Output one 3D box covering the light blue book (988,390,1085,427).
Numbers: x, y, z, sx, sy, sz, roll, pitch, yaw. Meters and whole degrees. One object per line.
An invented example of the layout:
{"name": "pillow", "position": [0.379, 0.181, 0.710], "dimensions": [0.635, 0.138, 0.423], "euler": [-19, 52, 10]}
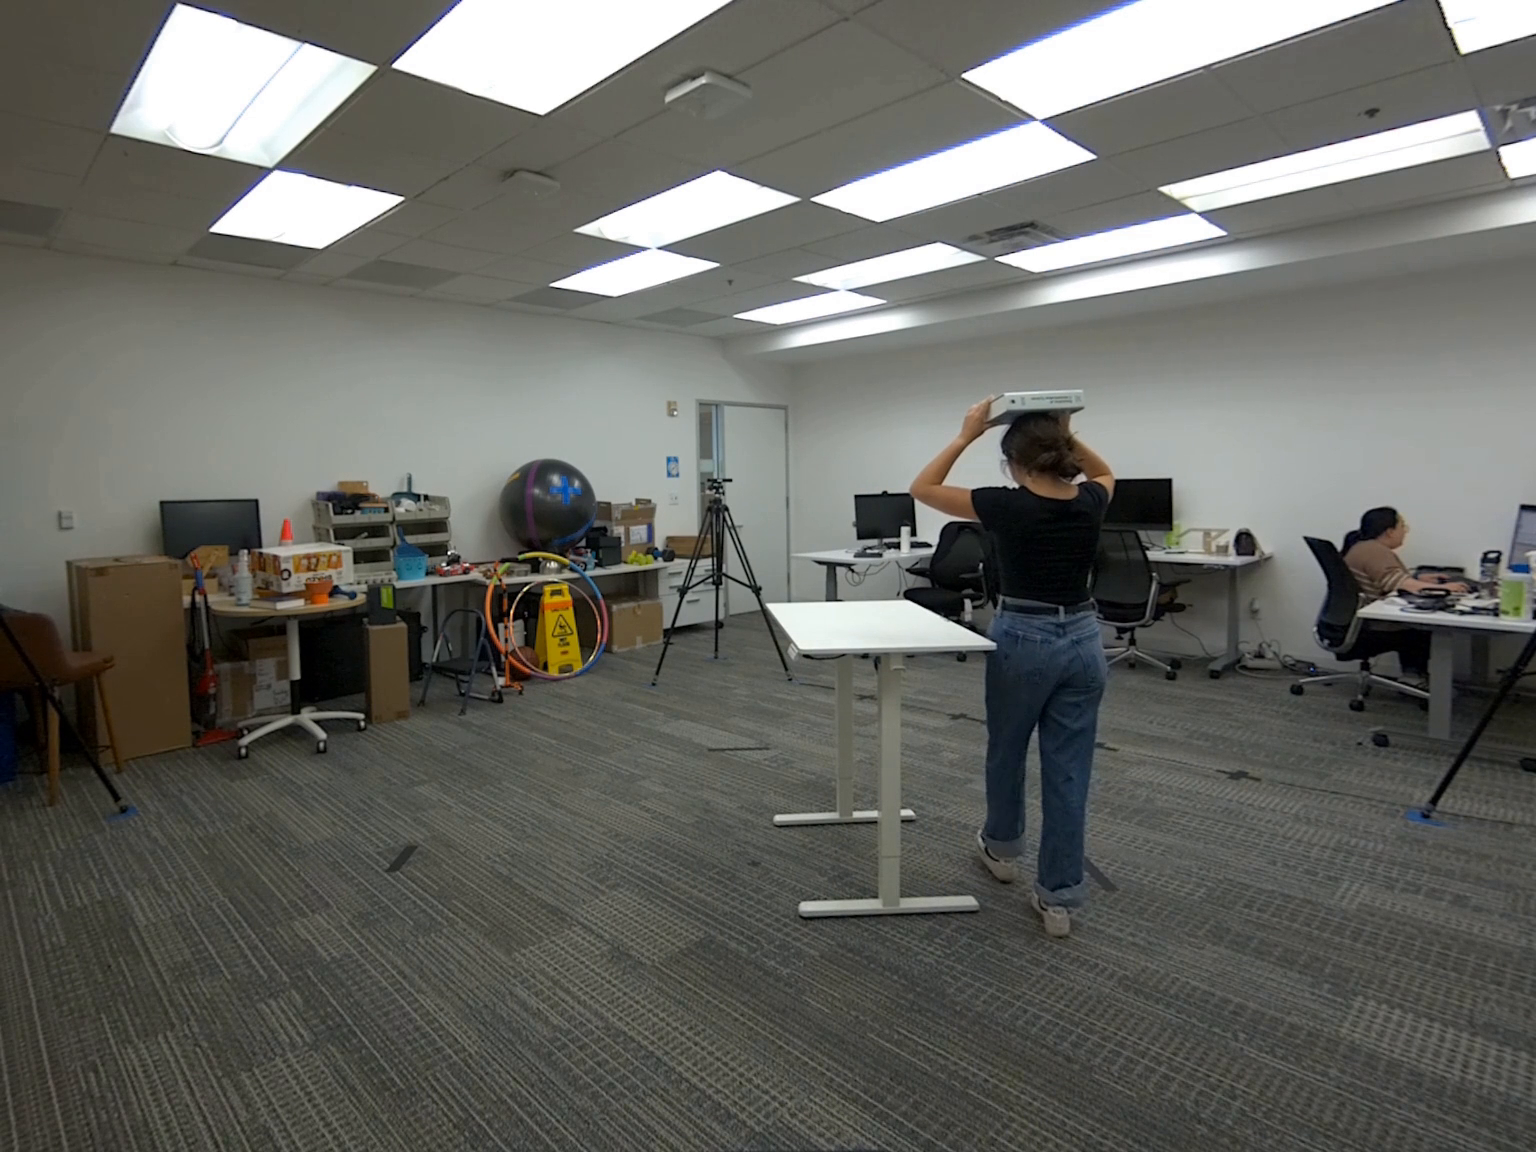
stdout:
{"name": "light blue book", "position": [0.839, -0.531, 2.689], "dimensions": [0.258, 0.059, 0.193], "euler": [-4, 0, -11]}
